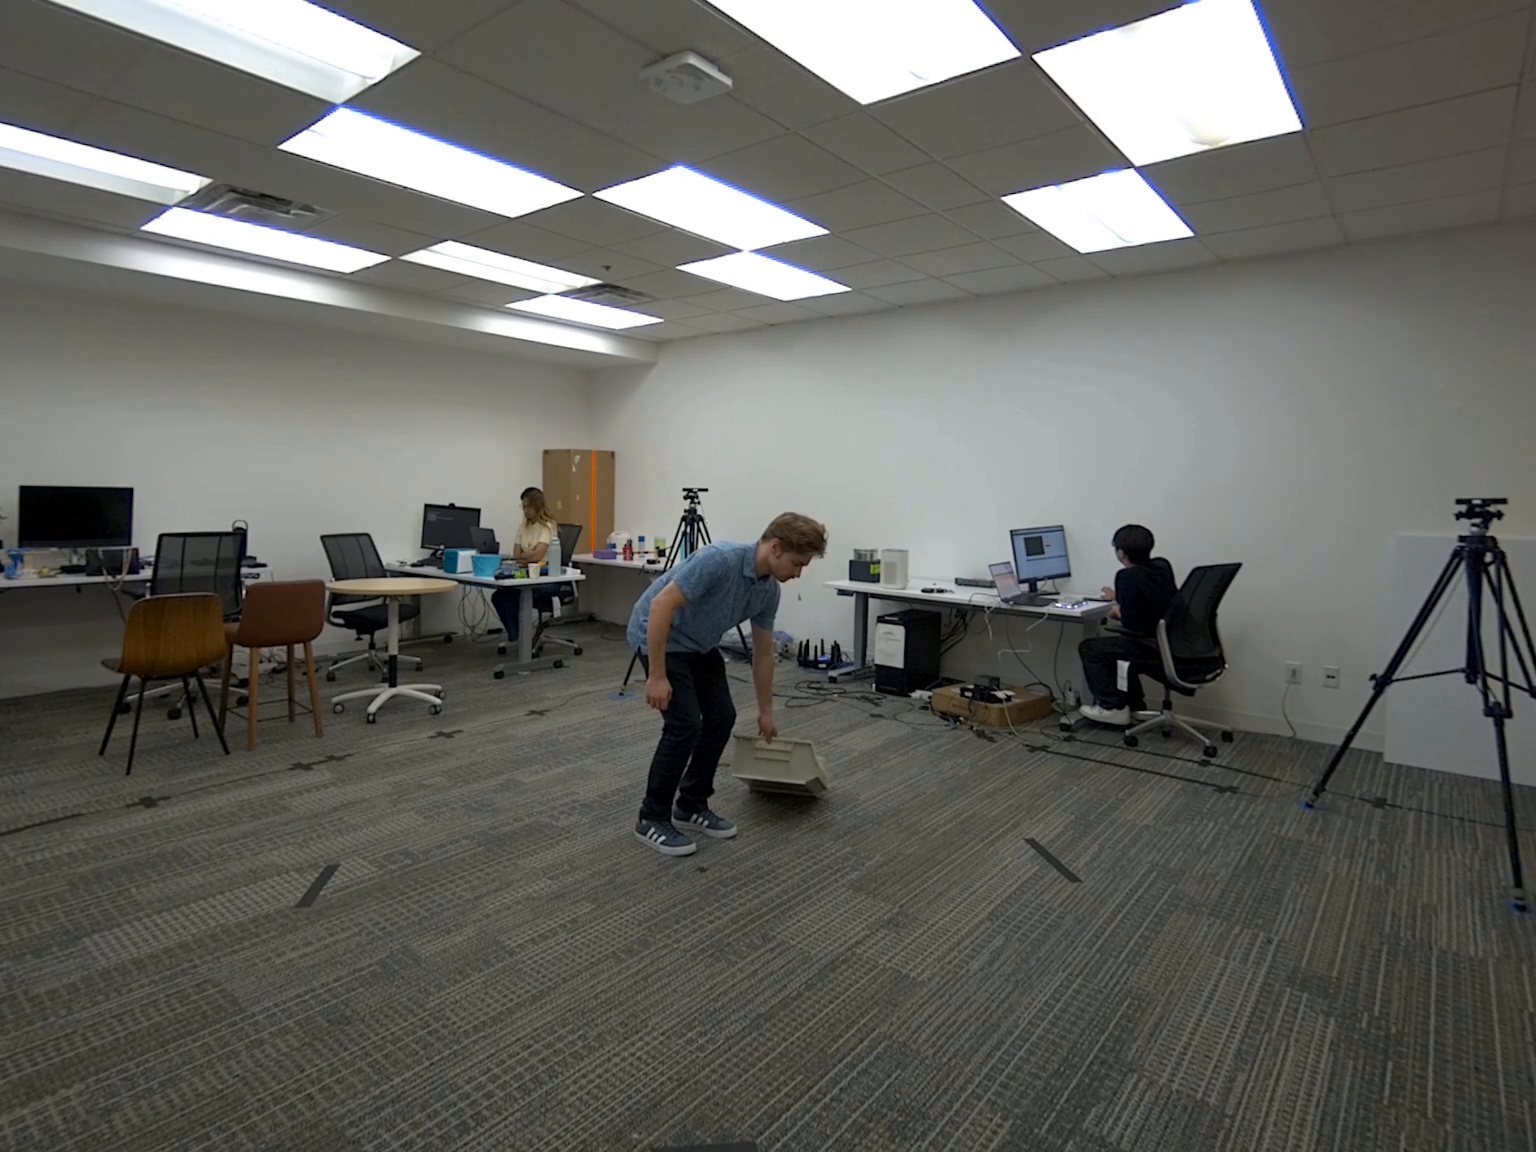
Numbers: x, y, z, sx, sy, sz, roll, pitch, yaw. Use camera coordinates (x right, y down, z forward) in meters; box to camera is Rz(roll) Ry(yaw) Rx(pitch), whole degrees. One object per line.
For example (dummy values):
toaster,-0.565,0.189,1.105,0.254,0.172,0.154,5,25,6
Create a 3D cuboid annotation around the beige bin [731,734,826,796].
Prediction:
beige bin,0.050,0.838,3.765,0.383,0.192,0.409,2,-20,12
